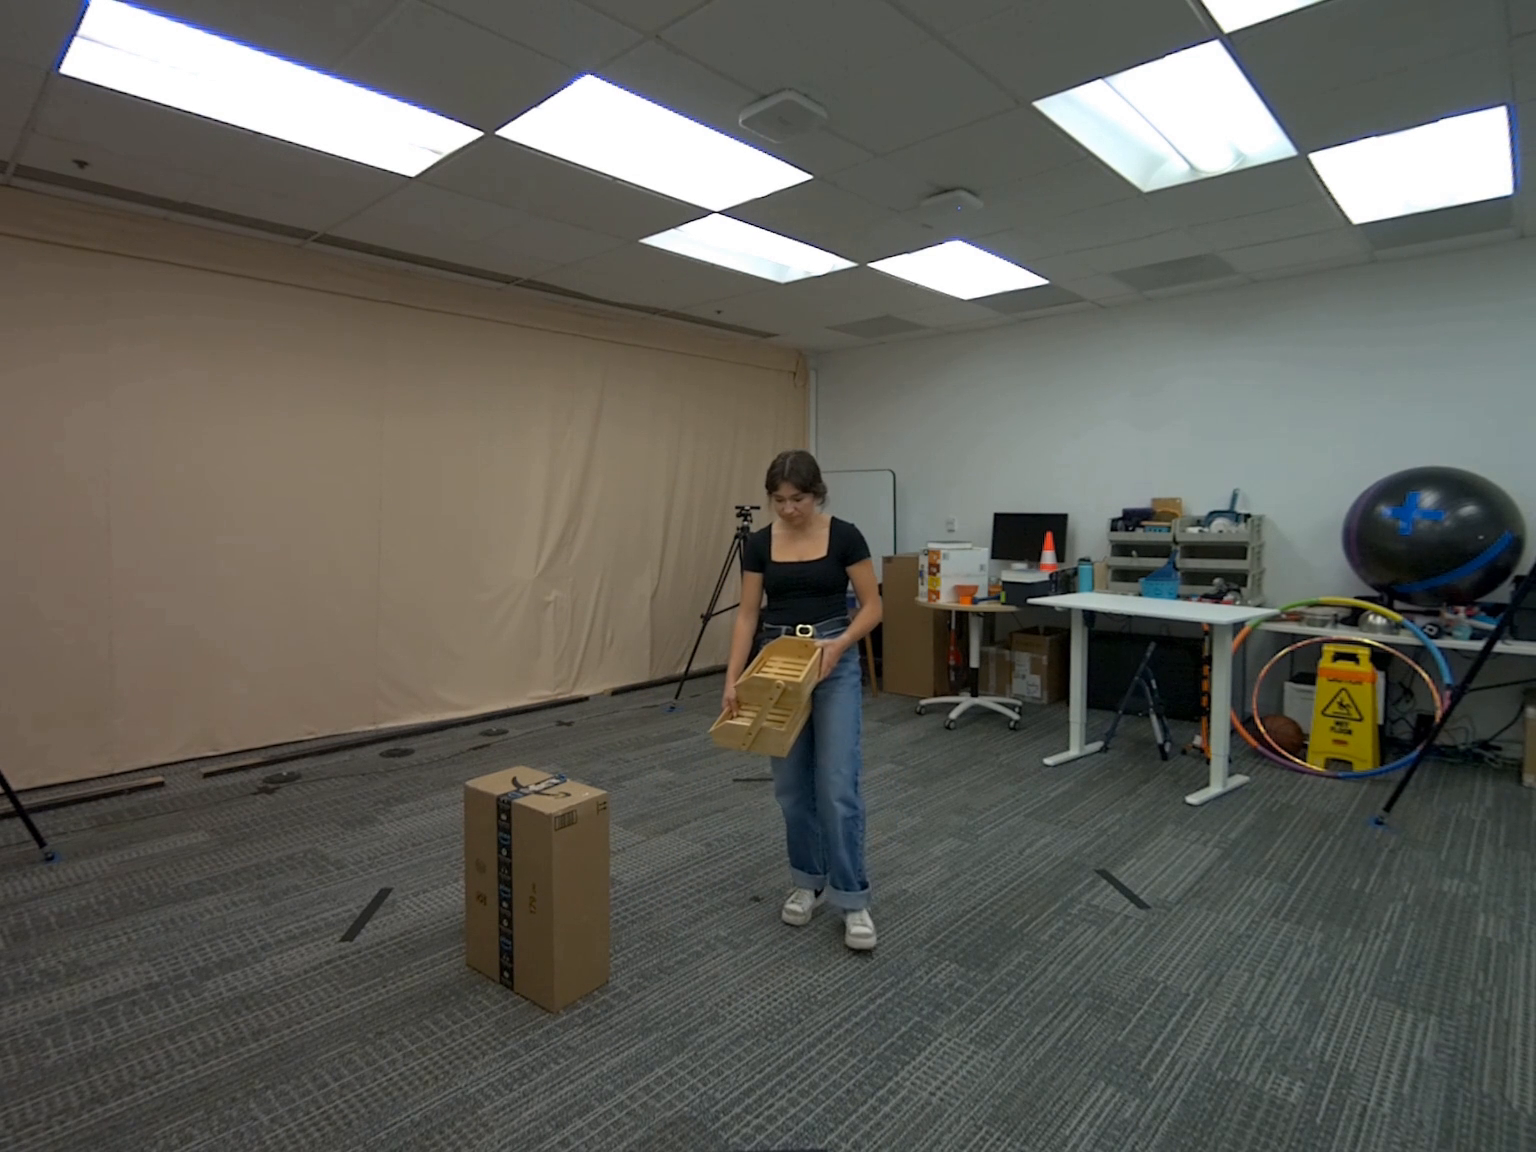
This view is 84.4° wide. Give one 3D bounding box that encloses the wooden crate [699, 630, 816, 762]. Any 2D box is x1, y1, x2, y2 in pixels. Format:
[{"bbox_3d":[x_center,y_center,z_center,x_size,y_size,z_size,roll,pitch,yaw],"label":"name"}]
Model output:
[{"bbox_3d":[-0.022,0.364,2.638,0.306,0.270,0.324,2,18,11],"label":"wooden crate"}]
